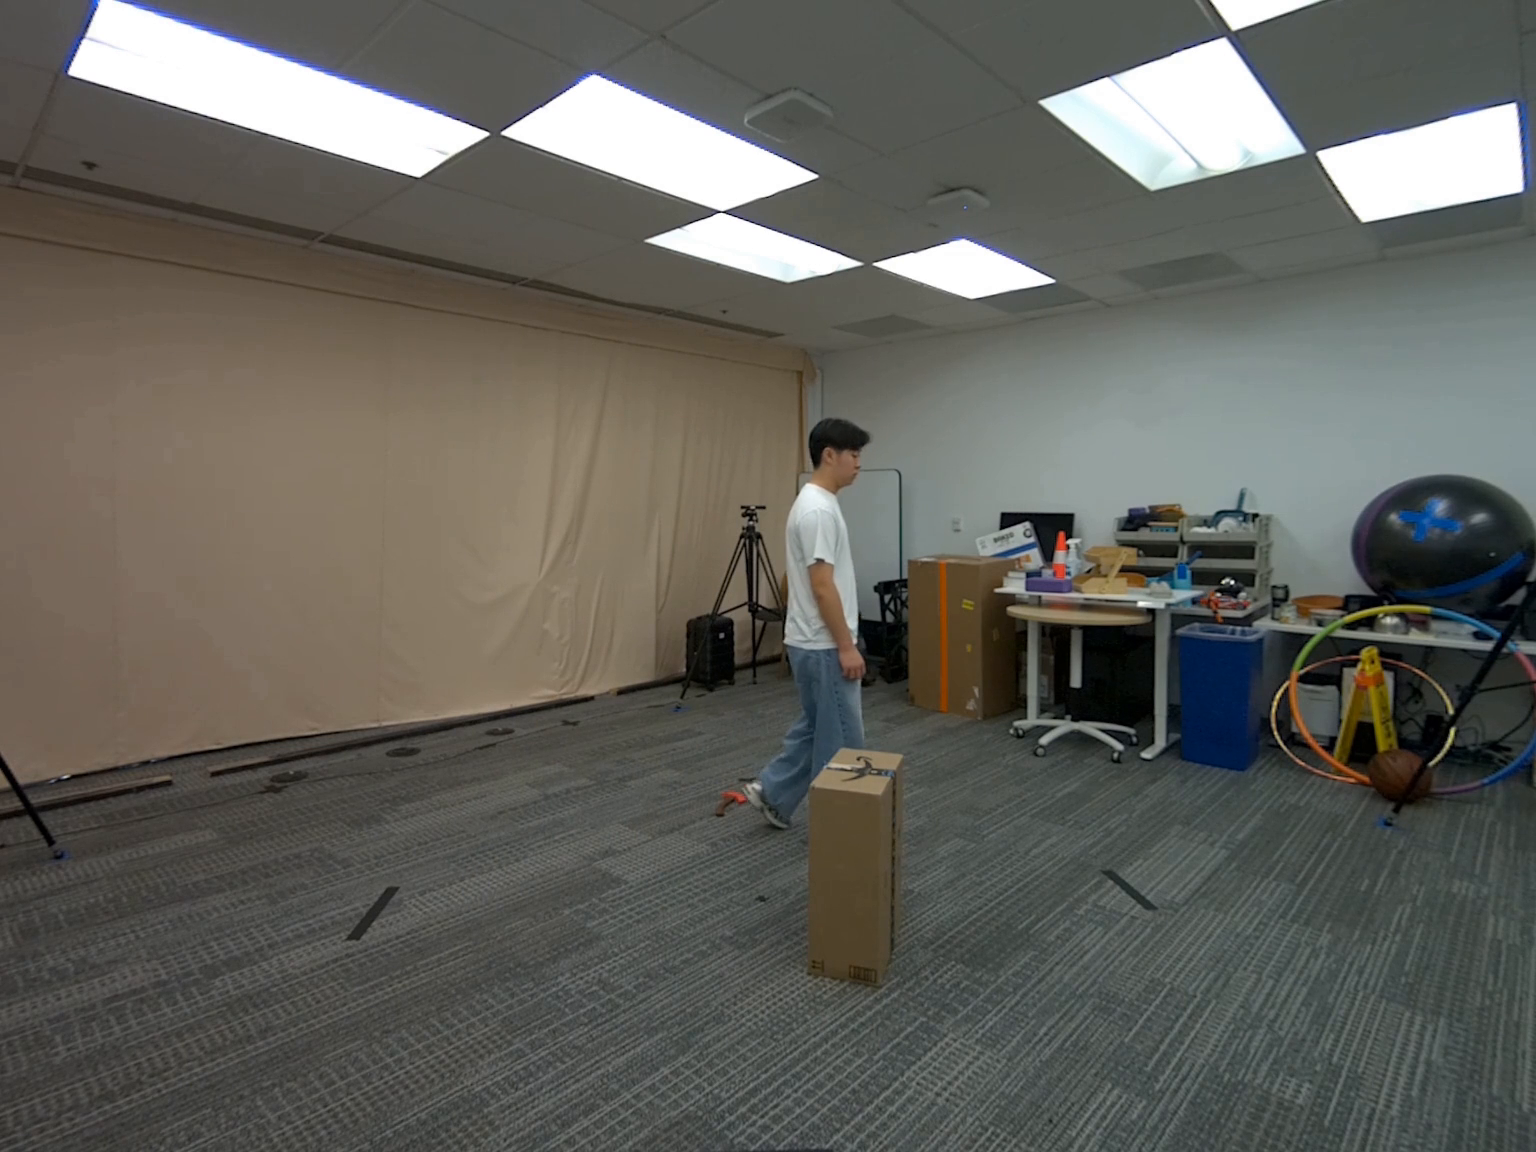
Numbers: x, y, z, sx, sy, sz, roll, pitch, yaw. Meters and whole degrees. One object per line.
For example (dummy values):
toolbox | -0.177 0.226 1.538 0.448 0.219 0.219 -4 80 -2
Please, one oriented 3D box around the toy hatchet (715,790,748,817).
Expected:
toy hatchet | -0.165 1.055 3.898 0.132 0.029 0.269 4 7 4
